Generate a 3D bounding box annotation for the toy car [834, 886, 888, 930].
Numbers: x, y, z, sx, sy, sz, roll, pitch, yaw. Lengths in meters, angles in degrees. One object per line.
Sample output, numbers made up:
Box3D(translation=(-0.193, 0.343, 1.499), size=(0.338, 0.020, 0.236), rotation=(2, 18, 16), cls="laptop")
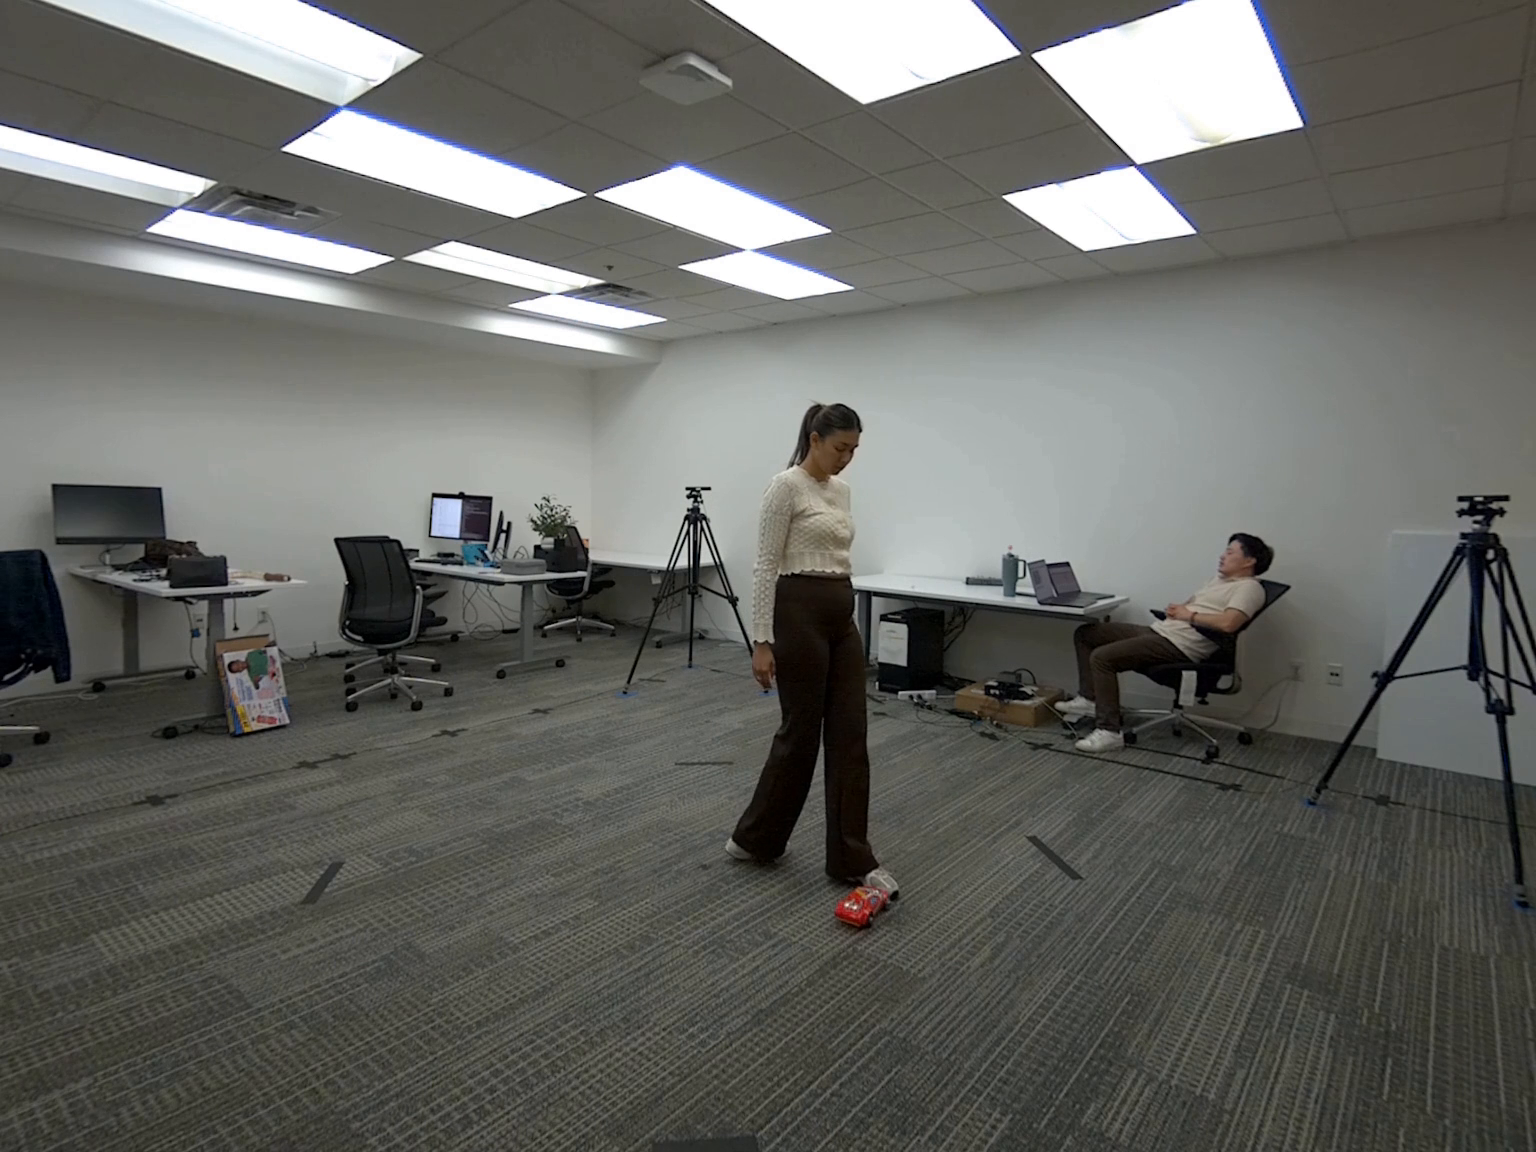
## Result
Box3D(translation=(0.301, 1.077, 2.783), size=(0.134, 0.083, 0.246), rotation=(5, -4, 31), cls="toy car")
